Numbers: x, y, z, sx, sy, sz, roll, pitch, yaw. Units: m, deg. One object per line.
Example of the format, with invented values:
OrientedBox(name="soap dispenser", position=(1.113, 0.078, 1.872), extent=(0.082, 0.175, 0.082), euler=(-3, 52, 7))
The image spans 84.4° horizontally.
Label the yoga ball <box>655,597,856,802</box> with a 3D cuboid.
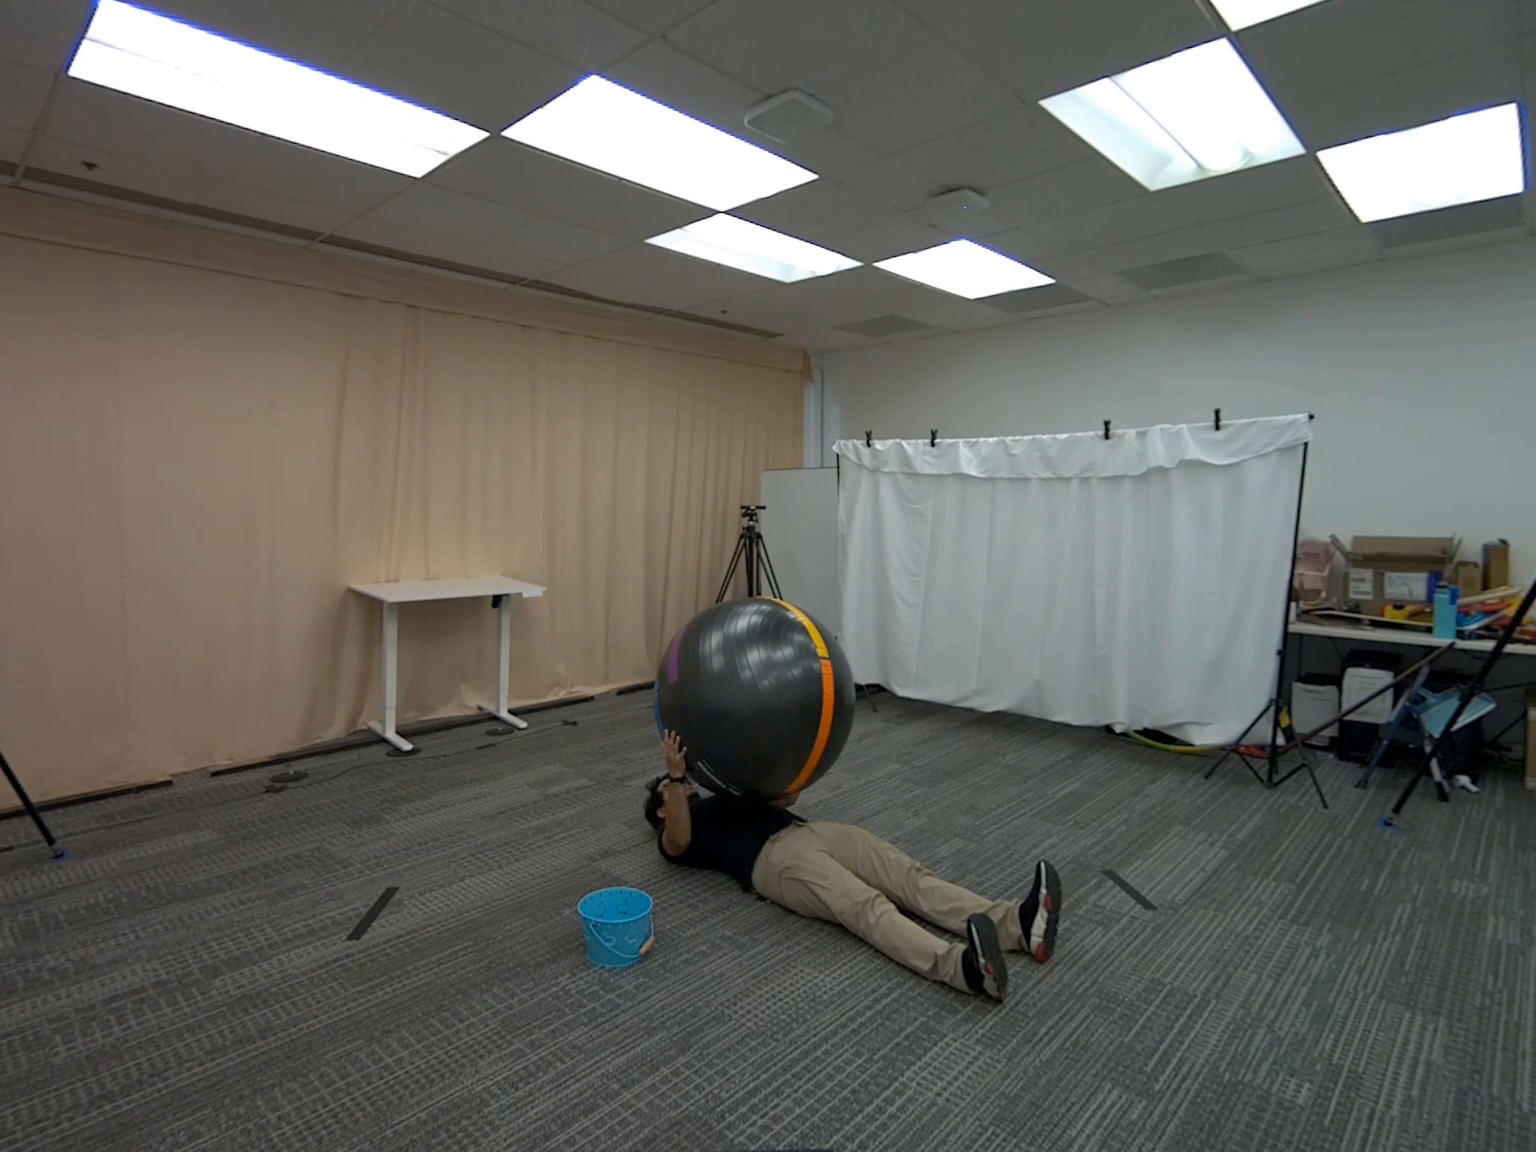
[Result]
OrientedBox(name="yoga ball", position=(-0.054, 0.464, 3.180), extent=(0.757, 0.756, 0.761), euler=(0, 4, -2))
